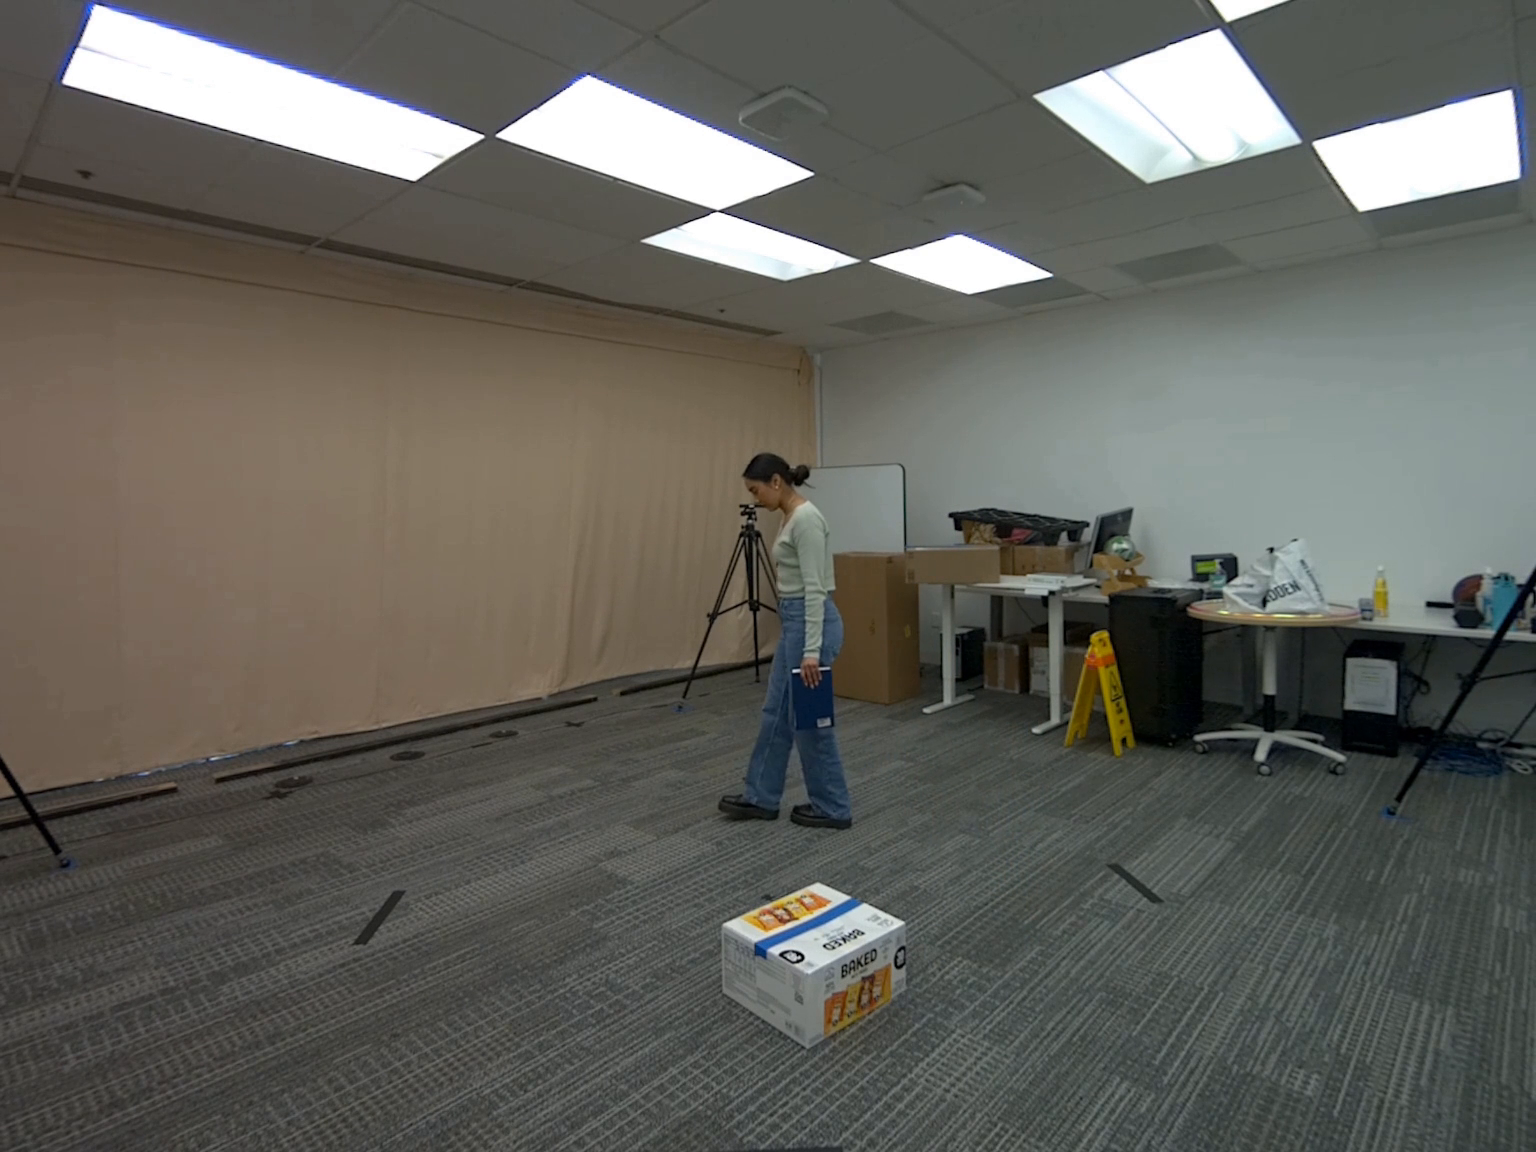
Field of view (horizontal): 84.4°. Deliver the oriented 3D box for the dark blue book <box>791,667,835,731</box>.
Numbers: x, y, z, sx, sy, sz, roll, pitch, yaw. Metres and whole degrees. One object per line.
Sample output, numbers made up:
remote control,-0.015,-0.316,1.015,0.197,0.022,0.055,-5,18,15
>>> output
dark blue book,0.178,0.497,3.439,0.162,0.245,0.045,-5,0,-5
